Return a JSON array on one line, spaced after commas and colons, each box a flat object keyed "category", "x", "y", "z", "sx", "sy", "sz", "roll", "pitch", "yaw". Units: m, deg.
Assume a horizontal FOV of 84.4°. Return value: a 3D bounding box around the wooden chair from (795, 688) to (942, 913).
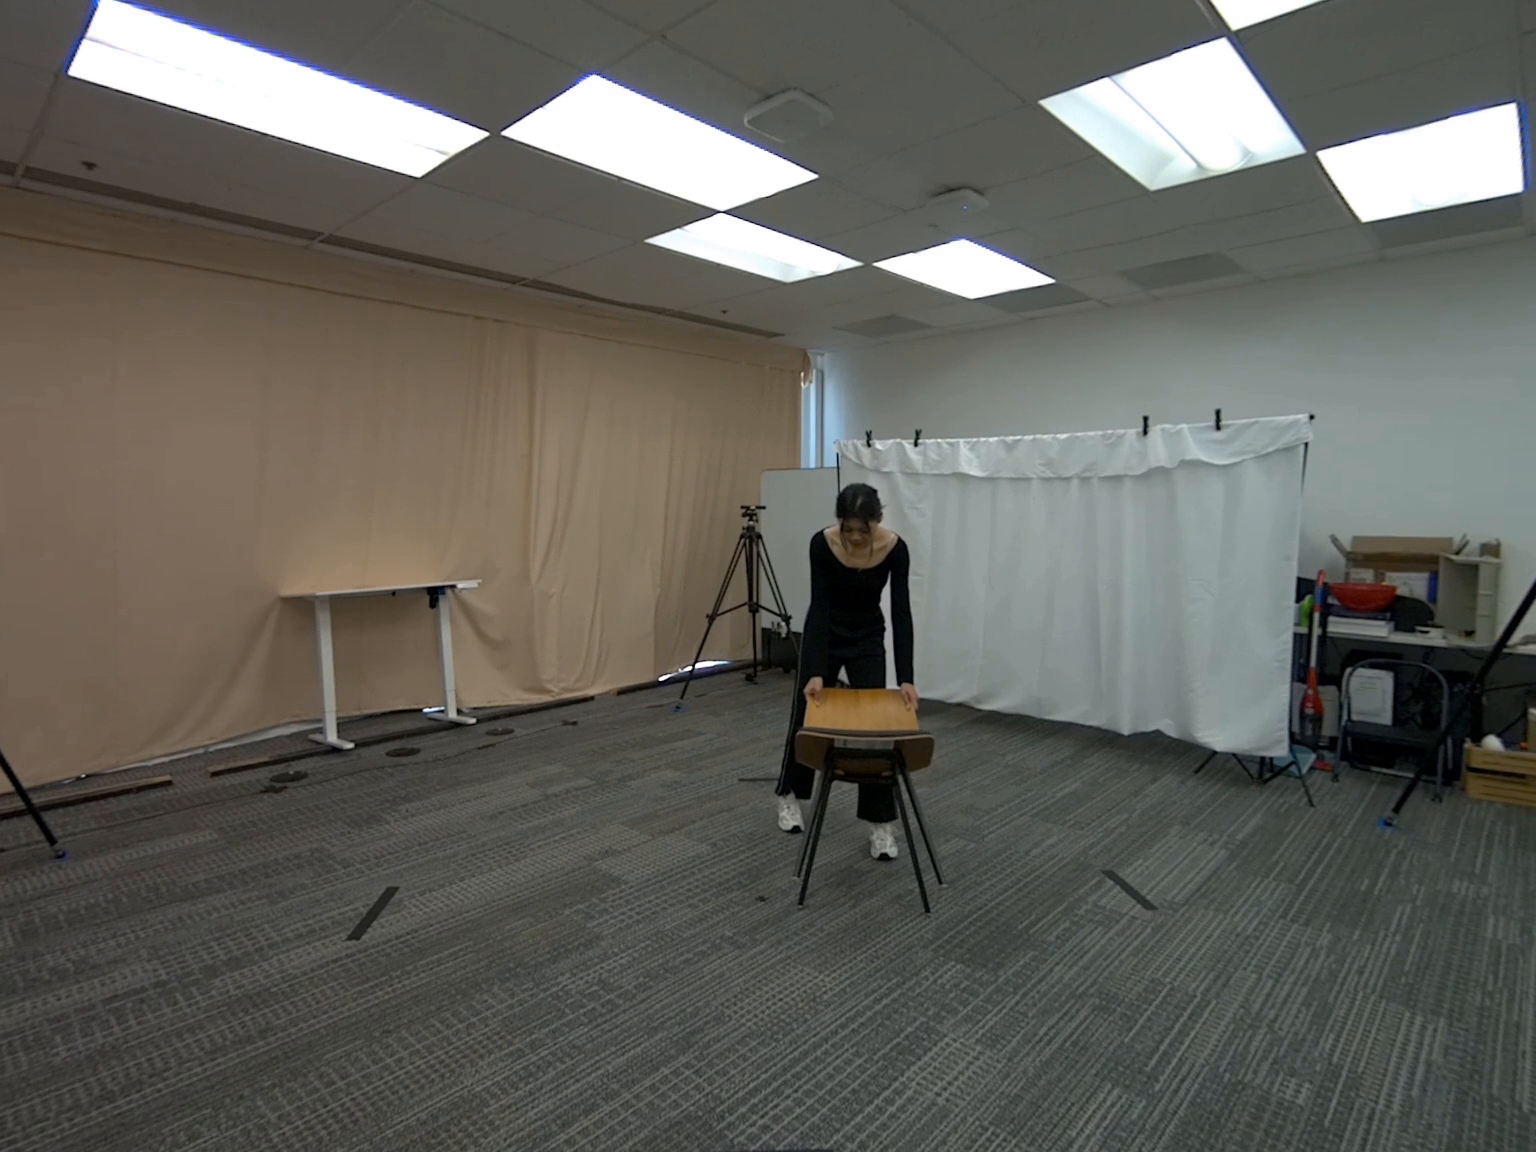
[{"category": "wooden chair", "x": 0.337, "y": 0.660, "z": 2.923, "sx": 0.482, "sy": 0.890, "sz": 0.511, "roll": 0, "pitch": -37, "yaw": 7}]
